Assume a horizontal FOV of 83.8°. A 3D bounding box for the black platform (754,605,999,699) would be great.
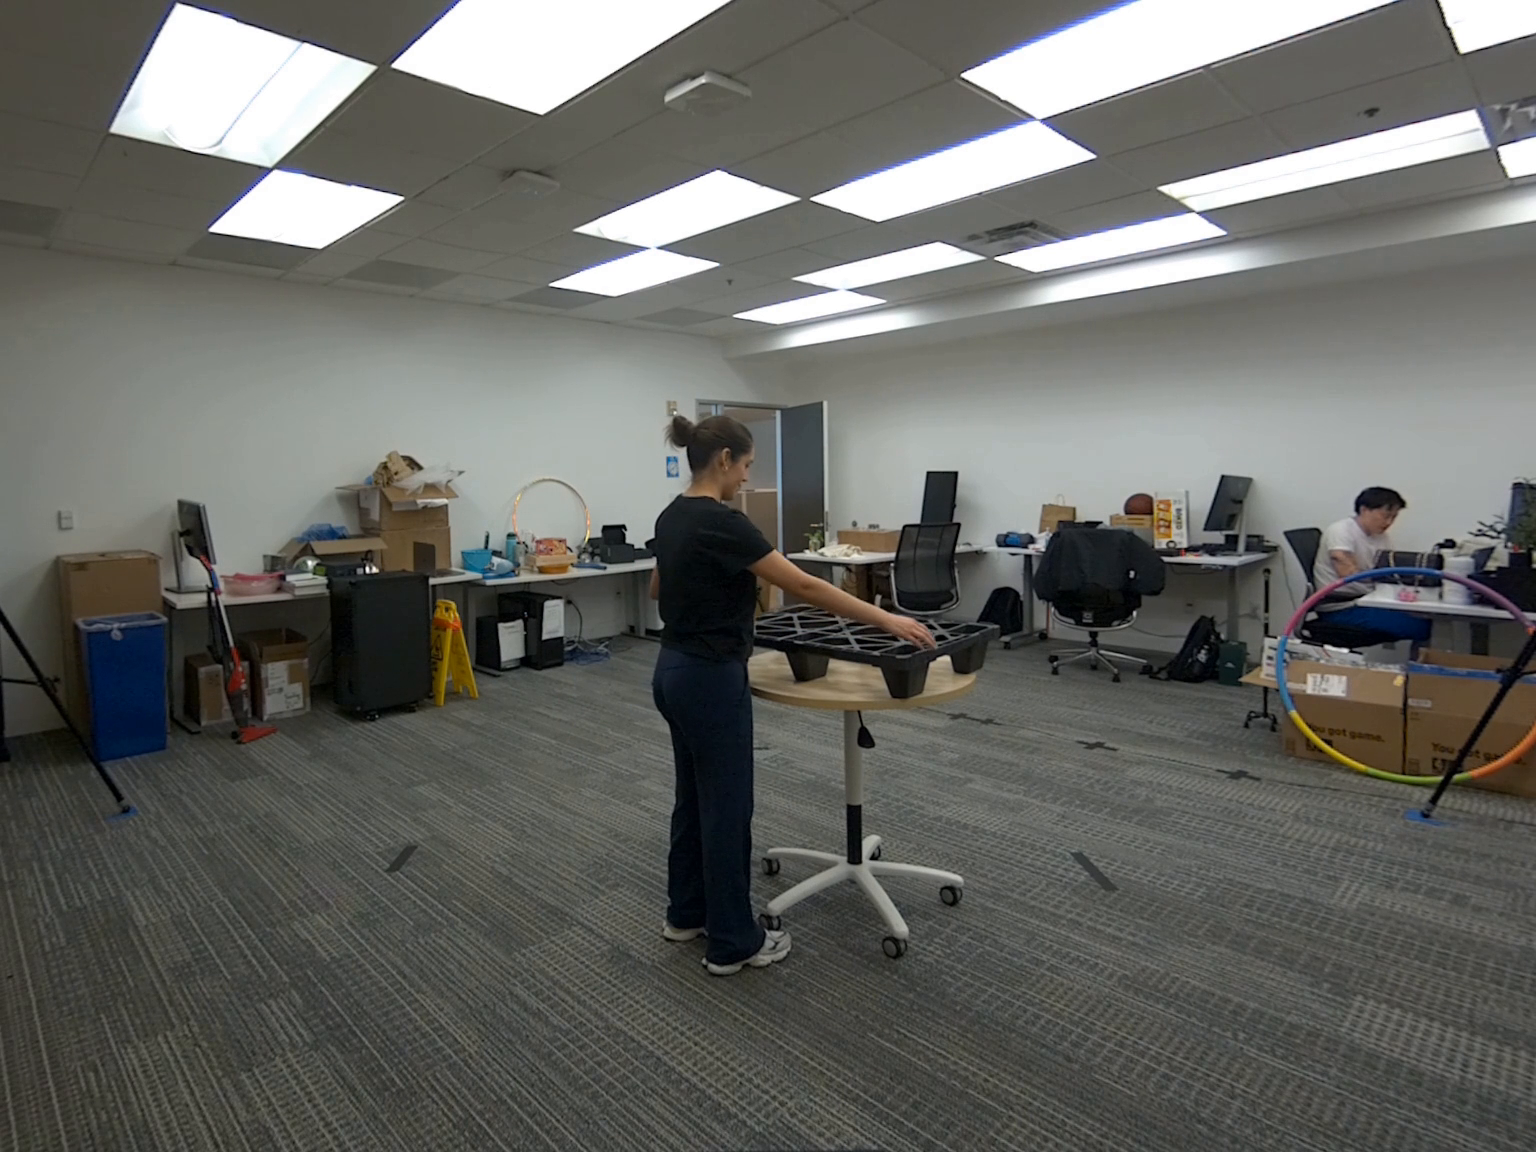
[{"bbox_3d":[0.253,0.229,2.786,0.830,0.142,0.590,4,8,41],"label":"black platform"}]
